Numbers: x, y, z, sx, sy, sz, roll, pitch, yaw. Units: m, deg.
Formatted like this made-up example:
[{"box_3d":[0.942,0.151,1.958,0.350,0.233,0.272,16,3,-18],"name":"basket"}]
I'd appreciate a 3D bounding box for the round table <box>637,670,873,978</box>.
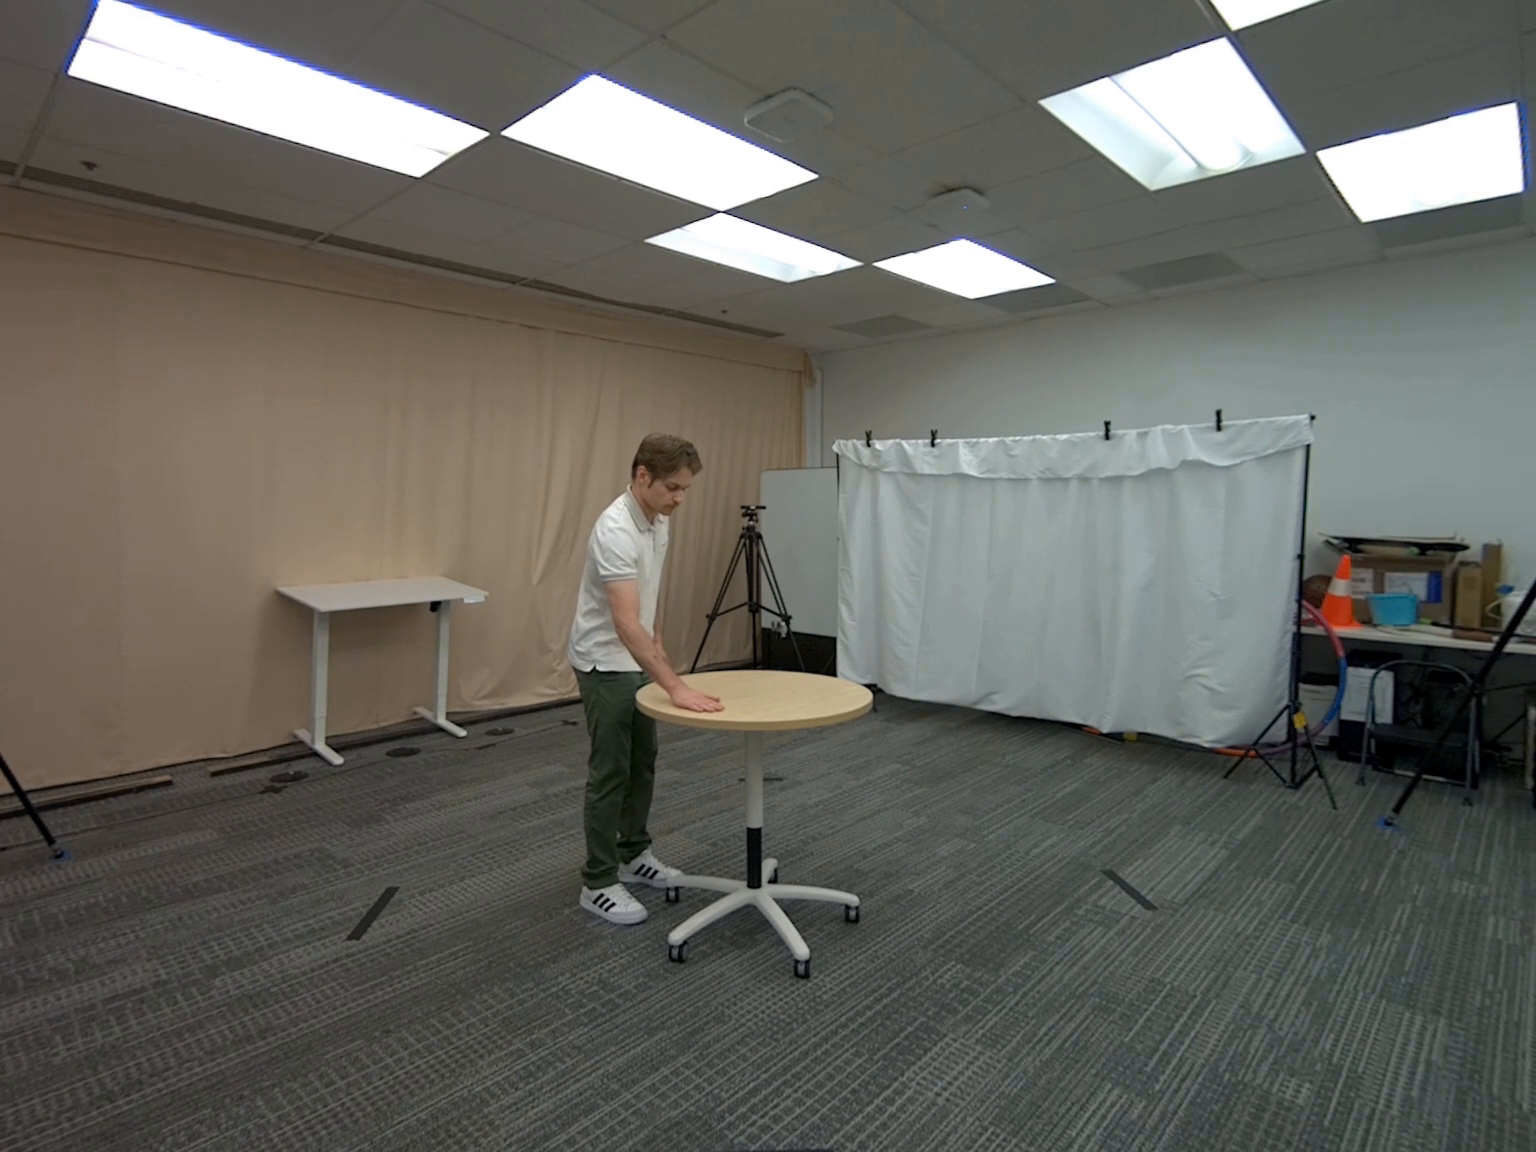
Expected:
[{"box_3d":[-0.034,0.770,2.745,0.784,0.785,0.787,-1,3,-2],"name":"round table"}]
